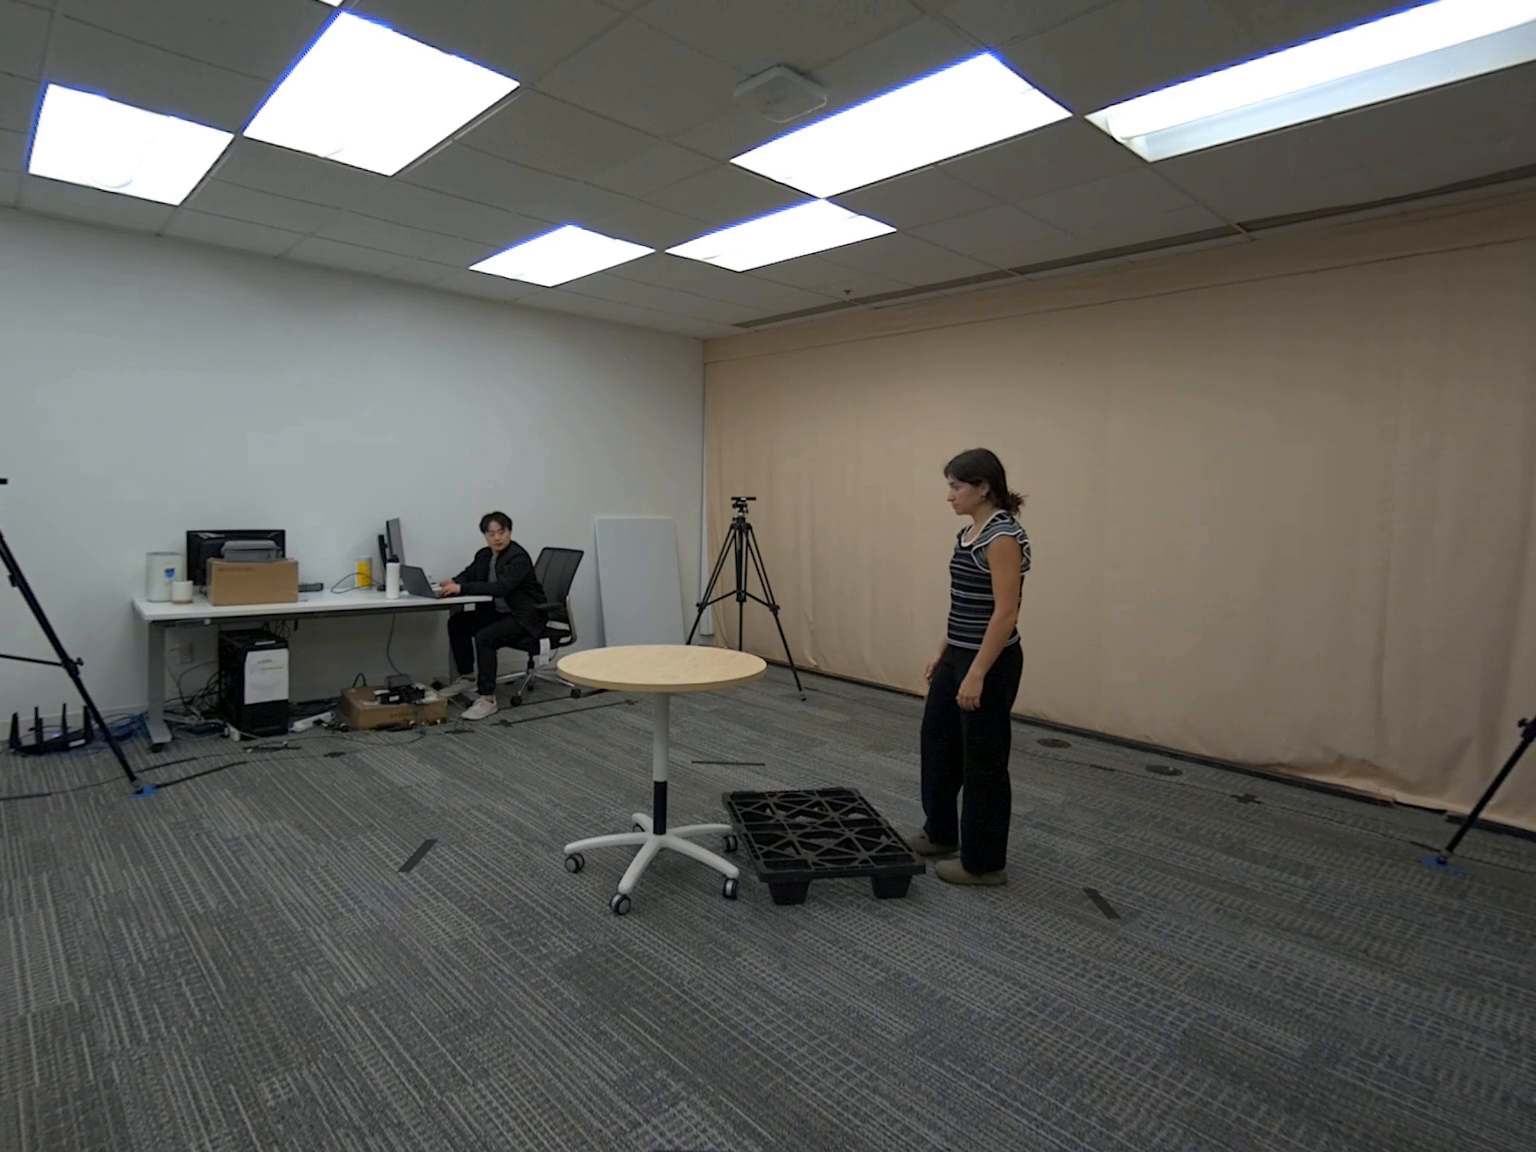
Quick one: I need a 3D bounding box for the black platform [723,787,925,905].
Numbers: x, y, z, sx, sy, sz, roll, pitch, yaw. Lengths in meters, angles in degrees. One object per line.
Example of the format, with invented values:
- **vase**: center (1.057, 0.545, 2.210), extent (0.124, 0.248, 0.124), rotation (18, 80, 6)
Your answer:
- **black platform**: center (0.167, 1.031, 3.268), extent (0.600, 0.143, 0.815), rotation (0, 5, -12)
